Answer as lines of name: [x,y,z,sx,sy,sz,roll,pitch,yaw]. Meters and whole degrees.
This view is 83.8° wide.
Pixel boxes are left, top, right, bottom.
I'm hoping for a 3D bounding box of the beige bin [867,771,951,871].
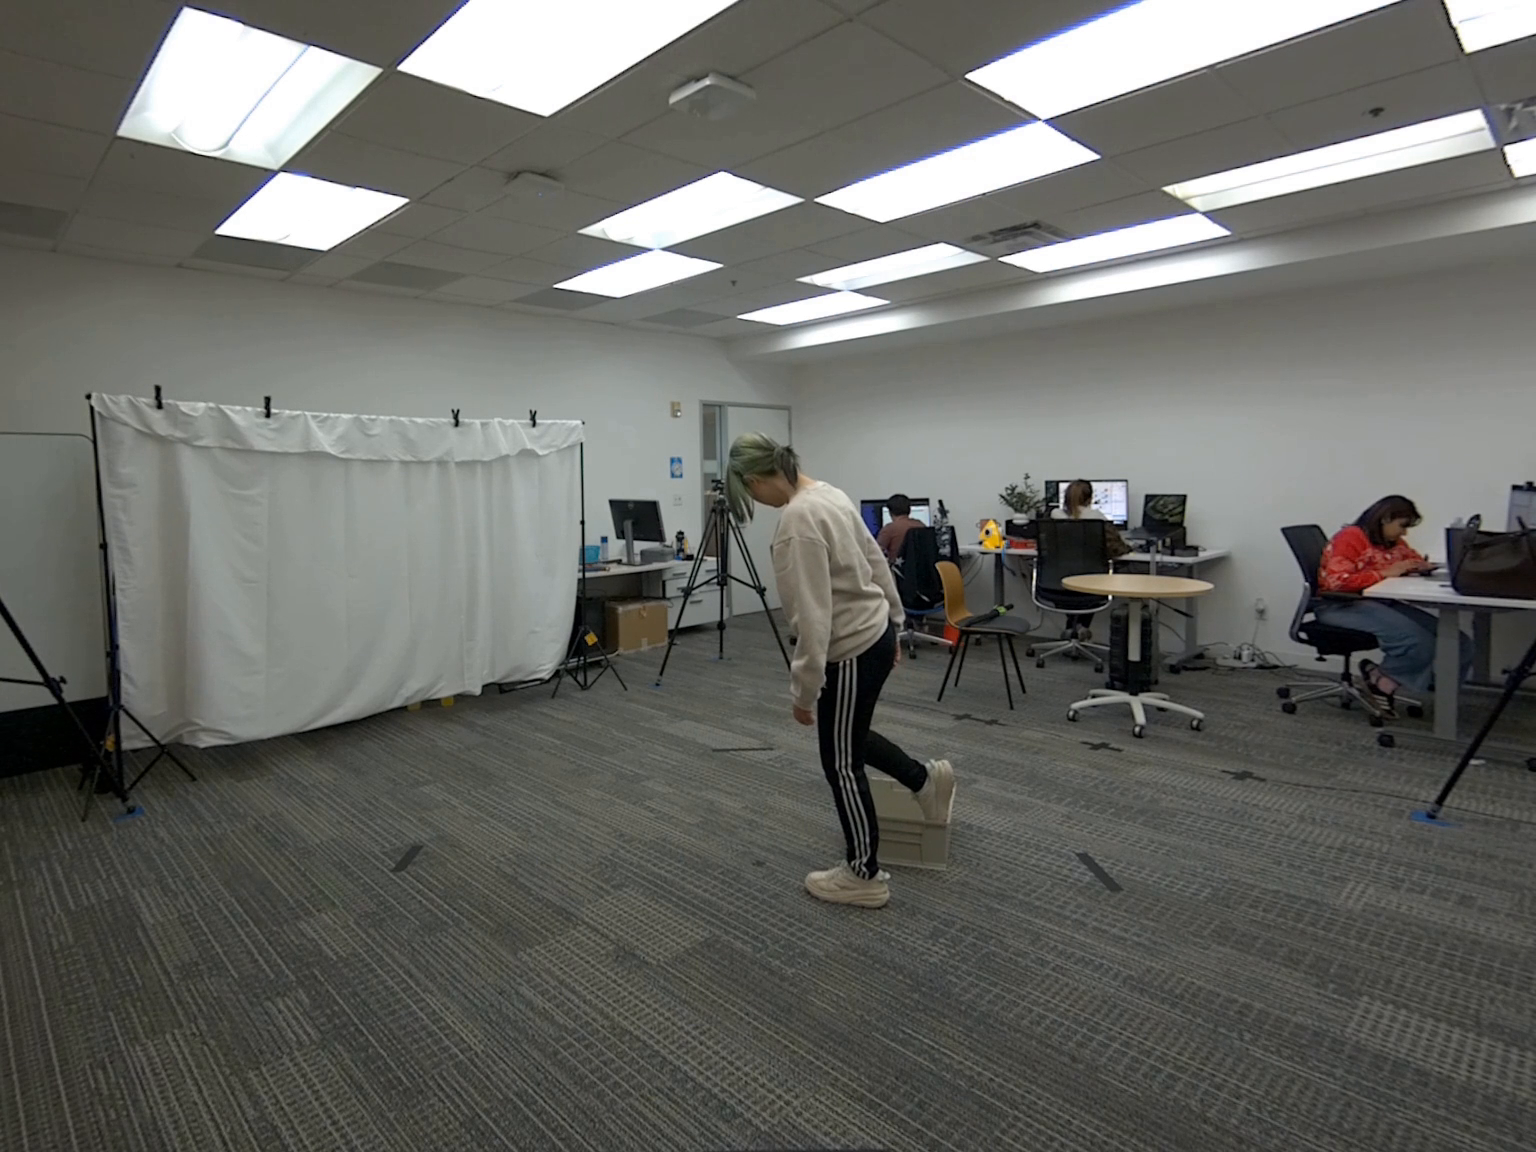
beige bin: [0.521,0.930,3.267,0.384,0.188,0.417,2,7,17]
